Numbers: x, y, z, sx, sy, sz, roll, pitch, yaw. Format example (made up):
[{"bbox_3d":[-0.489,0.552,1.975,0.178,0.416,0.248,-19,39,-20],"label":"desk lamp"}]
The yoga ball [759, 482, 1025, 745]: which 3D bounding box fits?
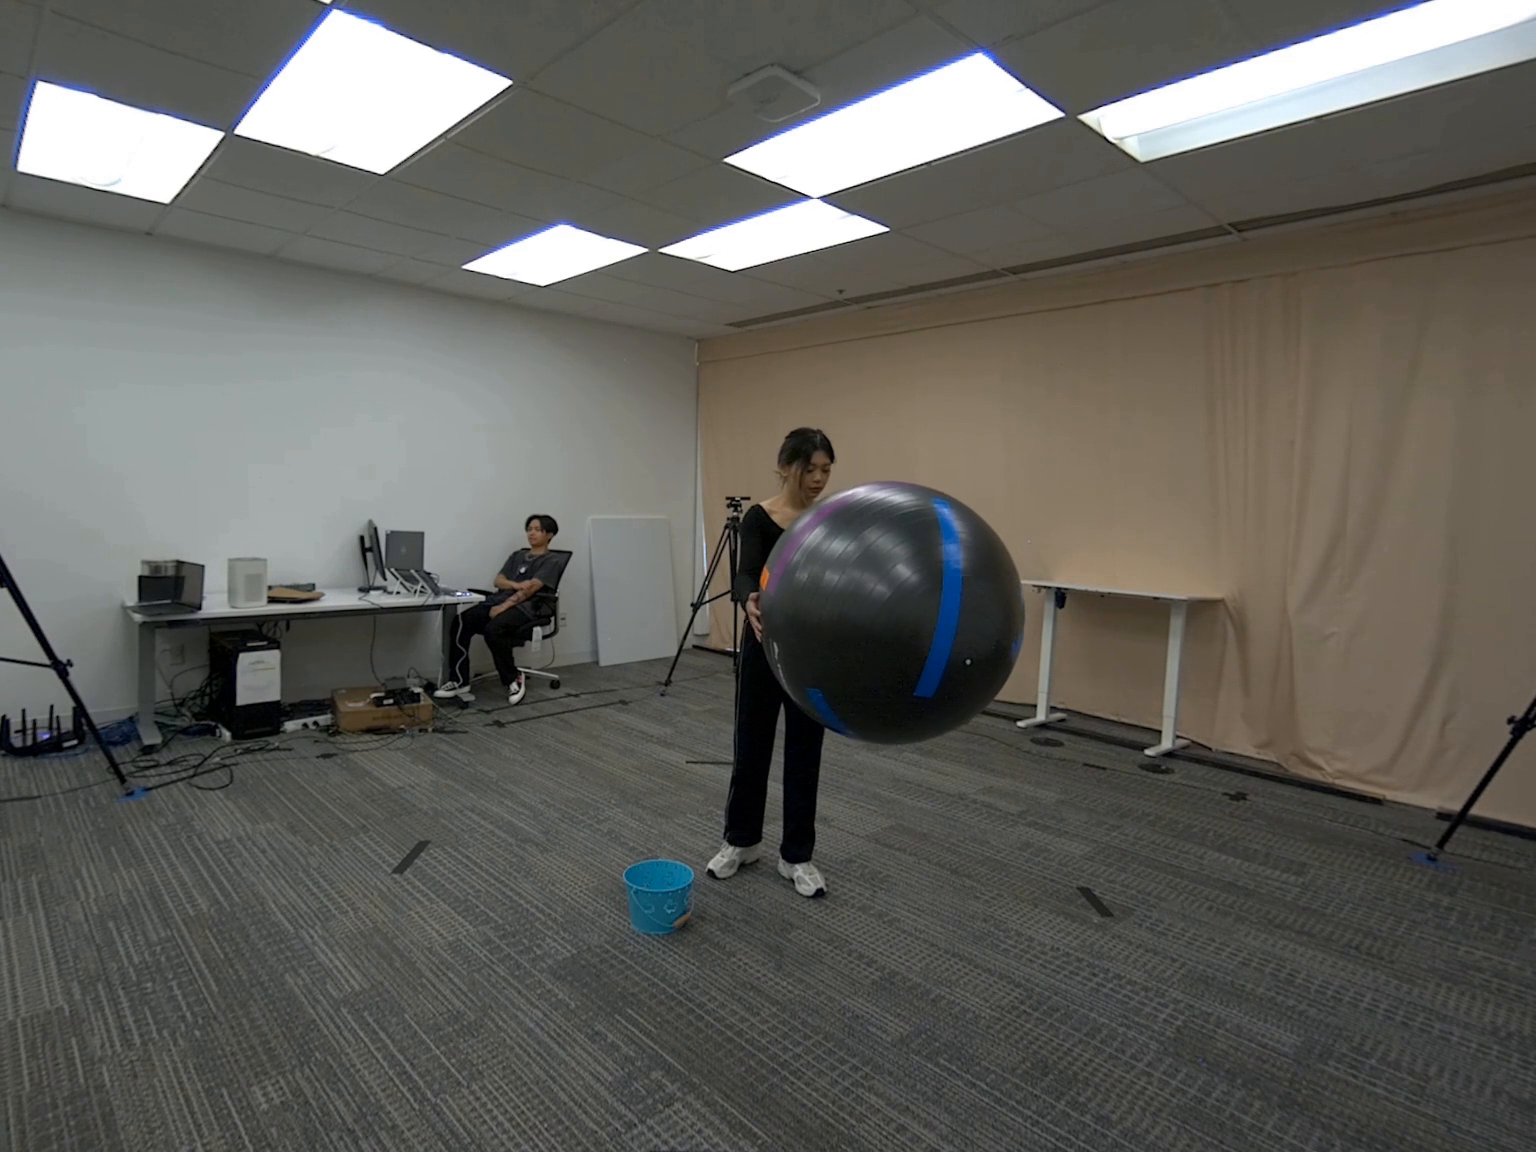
[{"bbox_3d":[0.346,0.108,2.430,0.757,0.756,0.761,1,4,-1],"label":"yoga ball"}]
